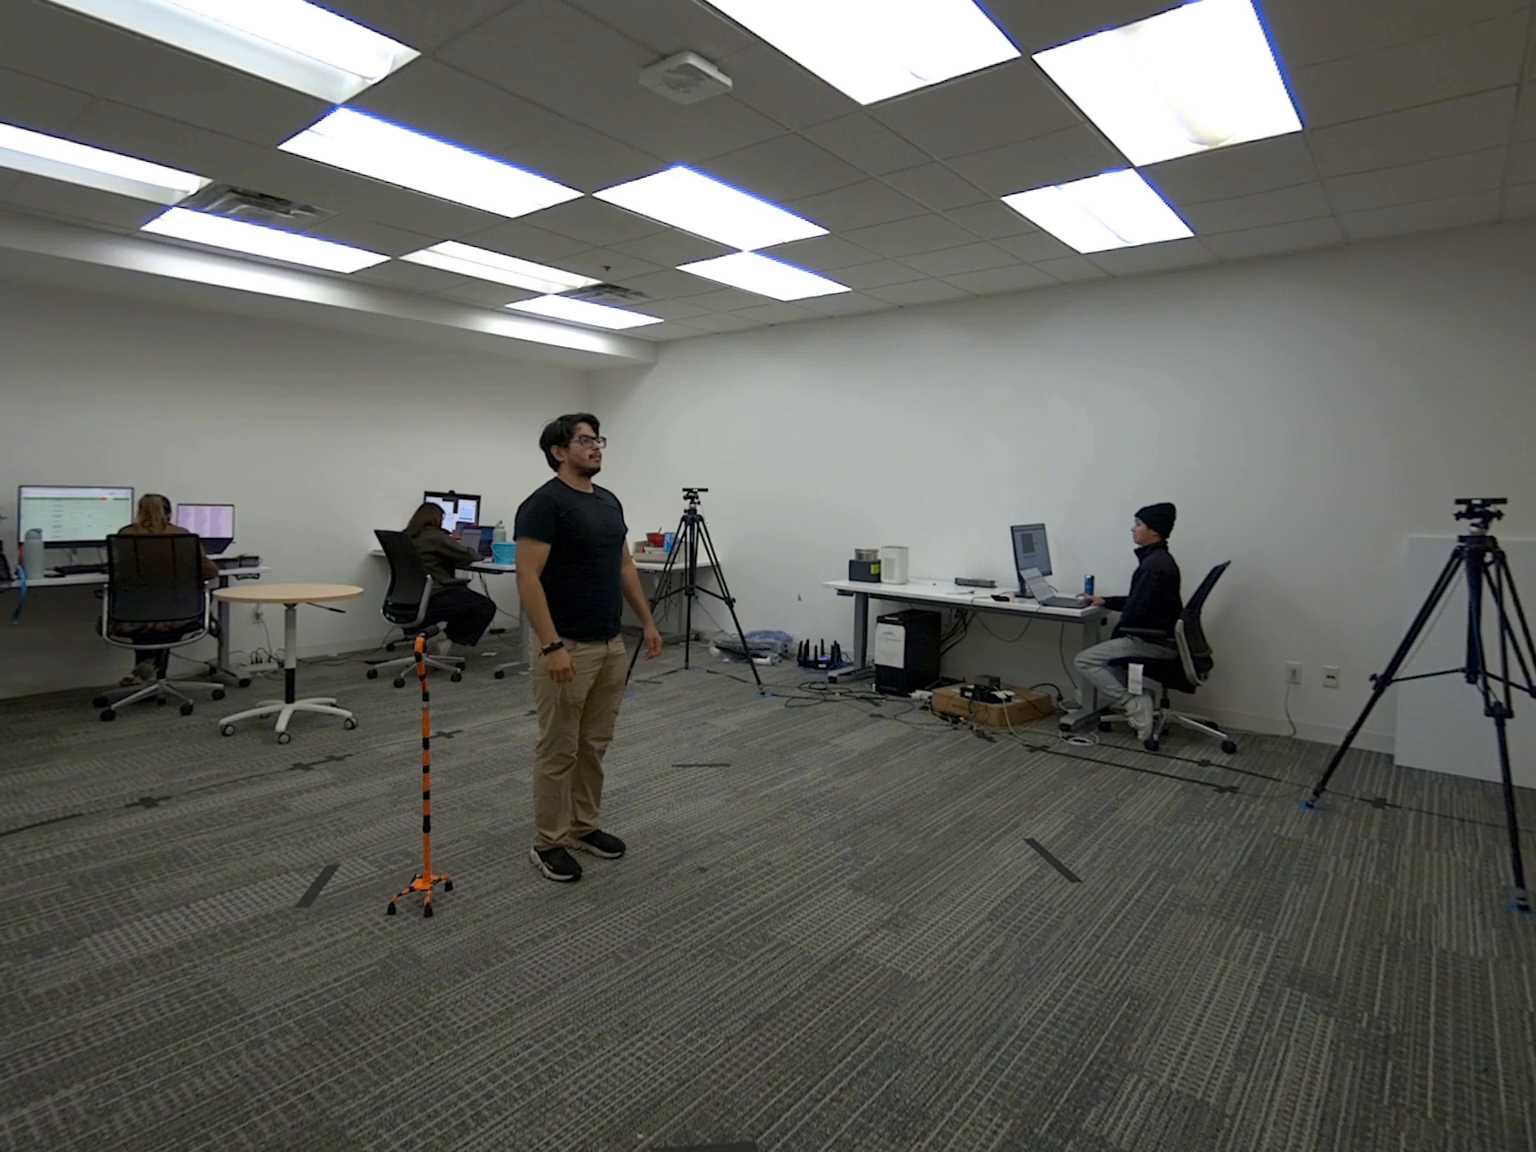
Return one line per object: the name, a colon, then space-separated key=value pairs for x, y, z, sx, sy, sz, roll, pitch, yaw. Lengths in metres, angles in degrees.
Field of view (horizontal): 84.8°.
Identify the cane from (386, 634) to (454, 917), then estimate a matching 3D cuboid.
cane: x=-1.168 y=0.635 z=2.814 sx=0.152 sy=0.905 sz=0.207 roll=0 pitch=3 yaw=0
